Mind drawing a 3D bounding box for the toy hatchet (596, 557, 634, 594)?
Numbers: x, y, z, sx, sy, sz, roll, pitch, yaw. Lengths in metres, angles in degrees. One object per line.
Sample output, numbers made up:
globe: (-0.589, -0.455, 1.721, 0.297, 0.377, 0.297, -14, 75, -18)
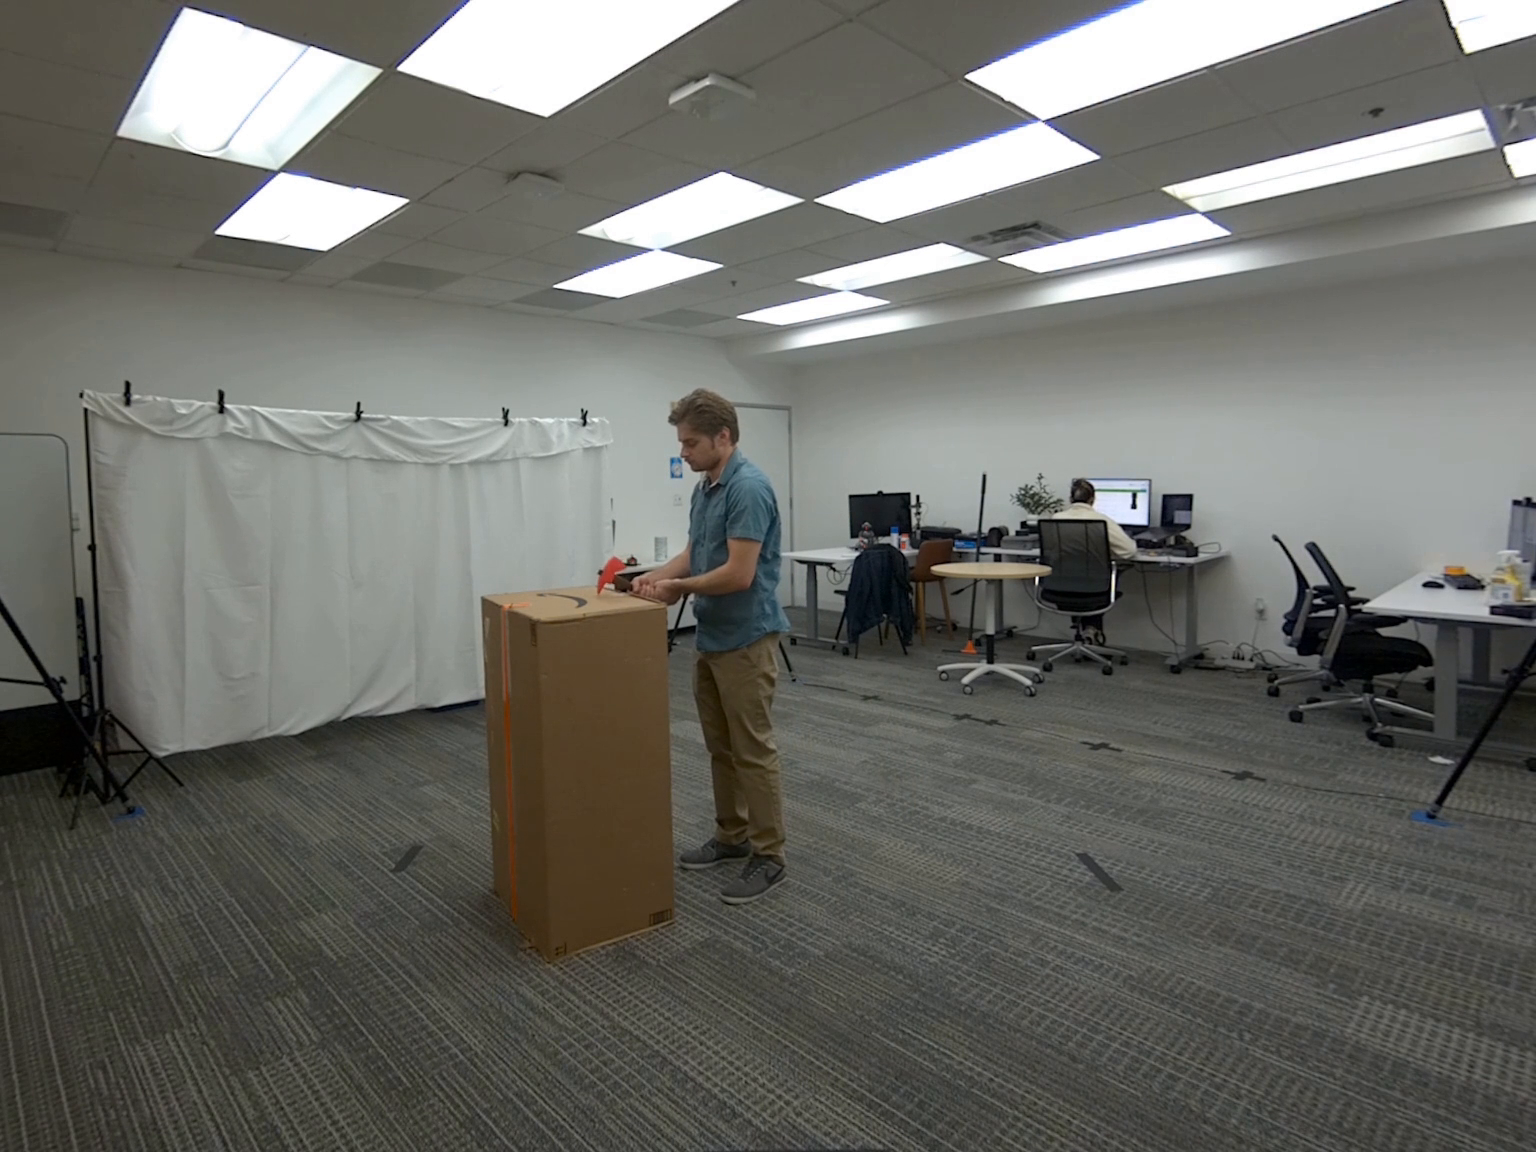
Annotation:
toy hatchet: (-0.444, 0.000, 2.896, 0.265, 0.131, 0.030, 5, -2, -19)
